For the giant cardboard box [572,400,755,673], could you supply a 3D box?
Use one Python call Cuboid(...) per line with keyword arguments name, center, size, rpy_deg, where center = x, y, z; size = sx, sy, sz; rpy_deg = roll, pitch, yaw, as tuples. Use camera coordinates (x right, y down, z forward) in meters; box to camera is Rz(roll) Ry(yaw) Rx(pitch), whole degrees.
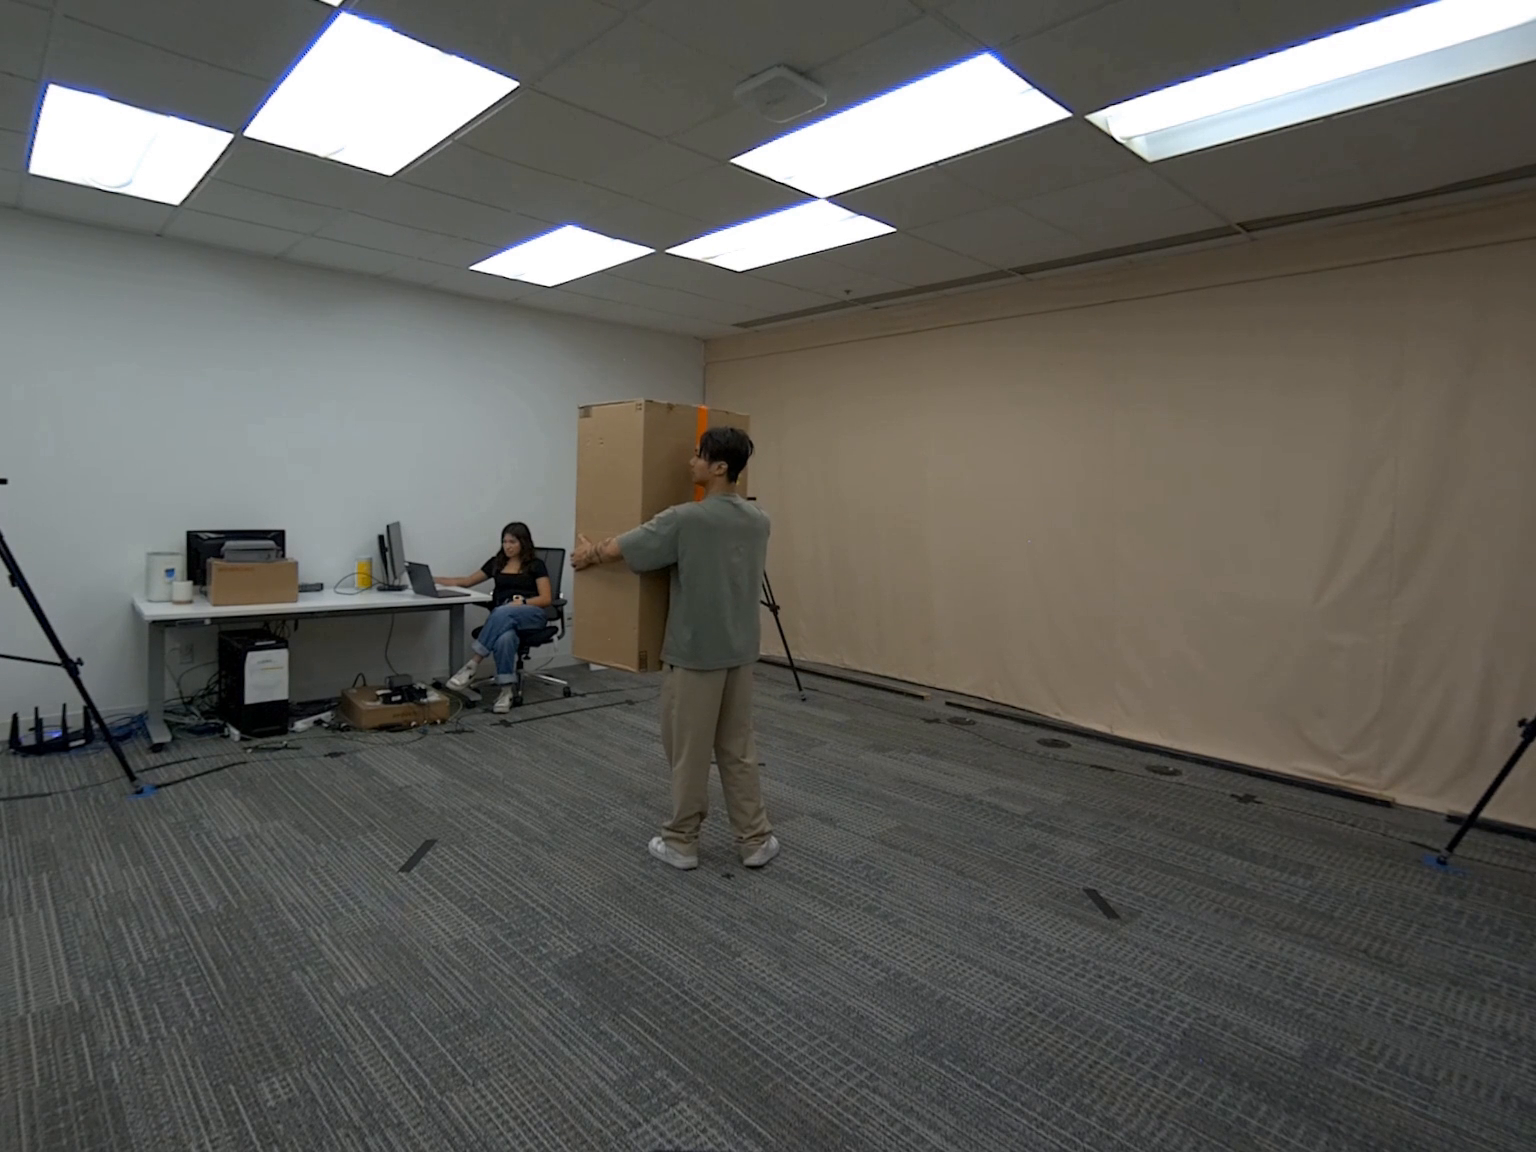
Cuboid(name="giant cardboard box", center=(-0.436, -0.171, 3.455), size=(0.437, 1.024, 0.564), rpy_deg=(4, 3, 43))
